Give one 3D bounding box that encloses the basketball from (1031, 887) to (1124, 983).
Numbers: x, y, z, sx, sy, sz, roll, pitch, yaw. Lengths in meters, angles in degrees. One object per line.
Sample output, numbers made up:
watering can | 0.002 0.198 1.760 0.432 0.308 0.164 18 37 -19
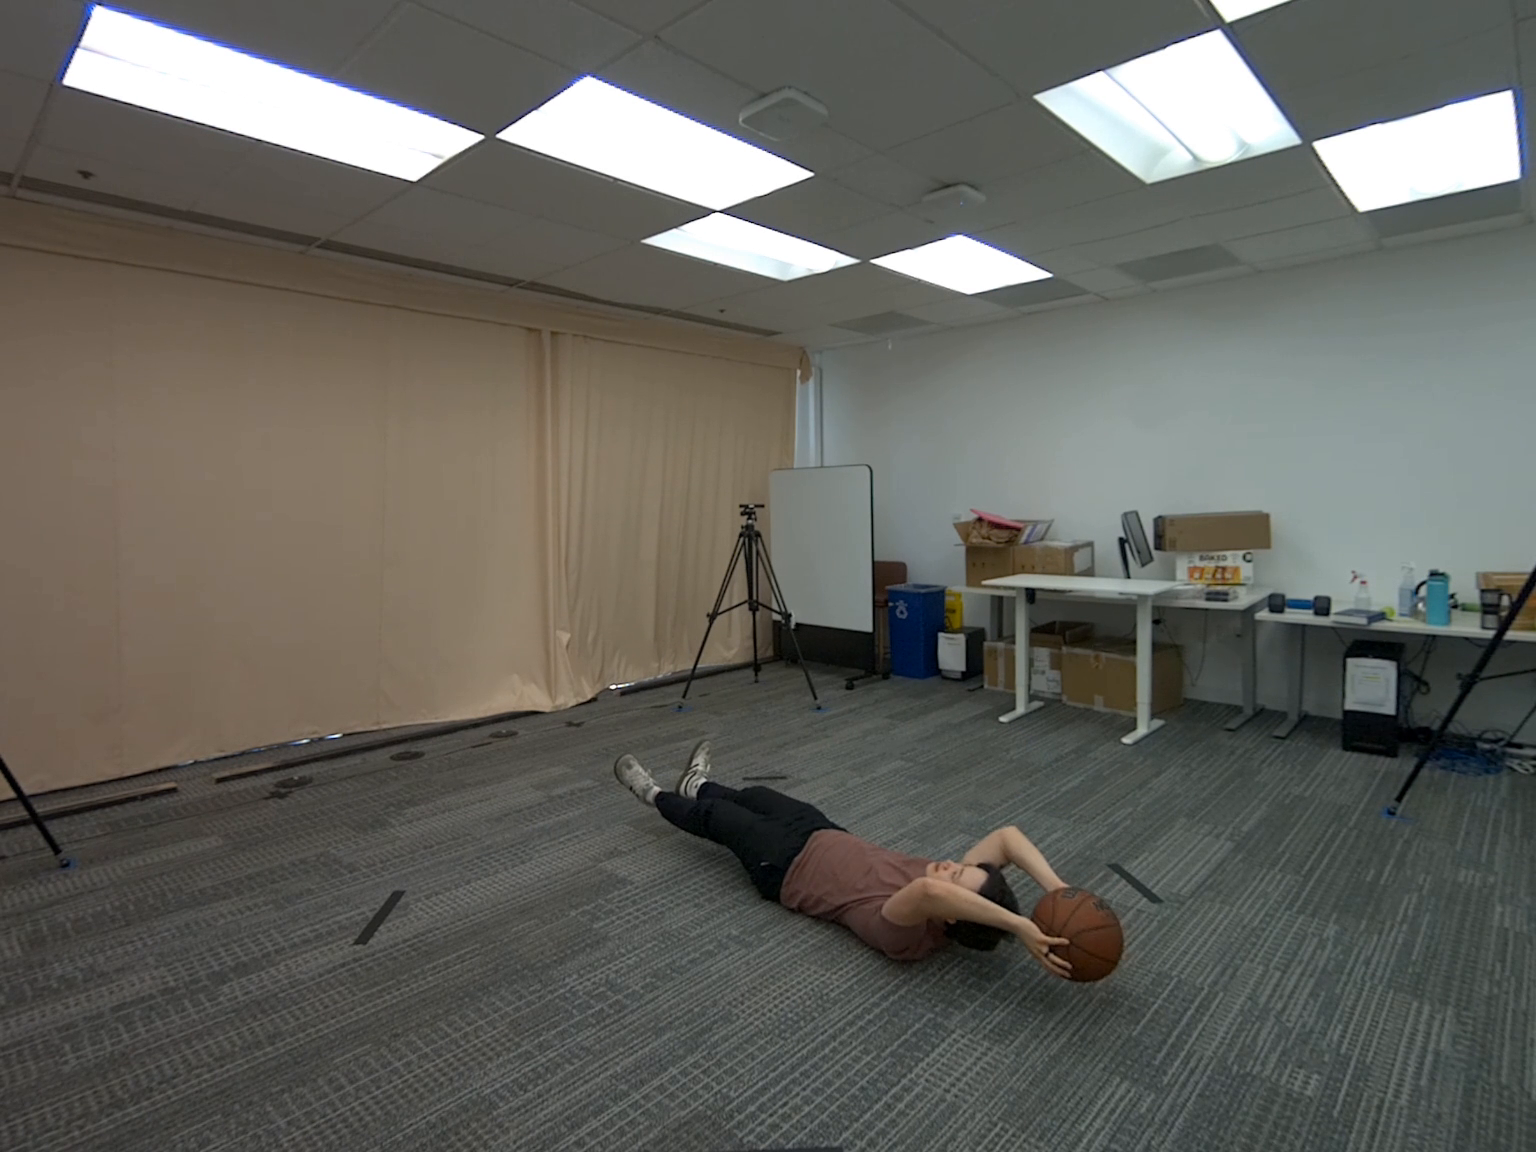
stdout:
basketball | 0.845 0.954 2.285 0.236 0.235 0.236 -1 3 -2
